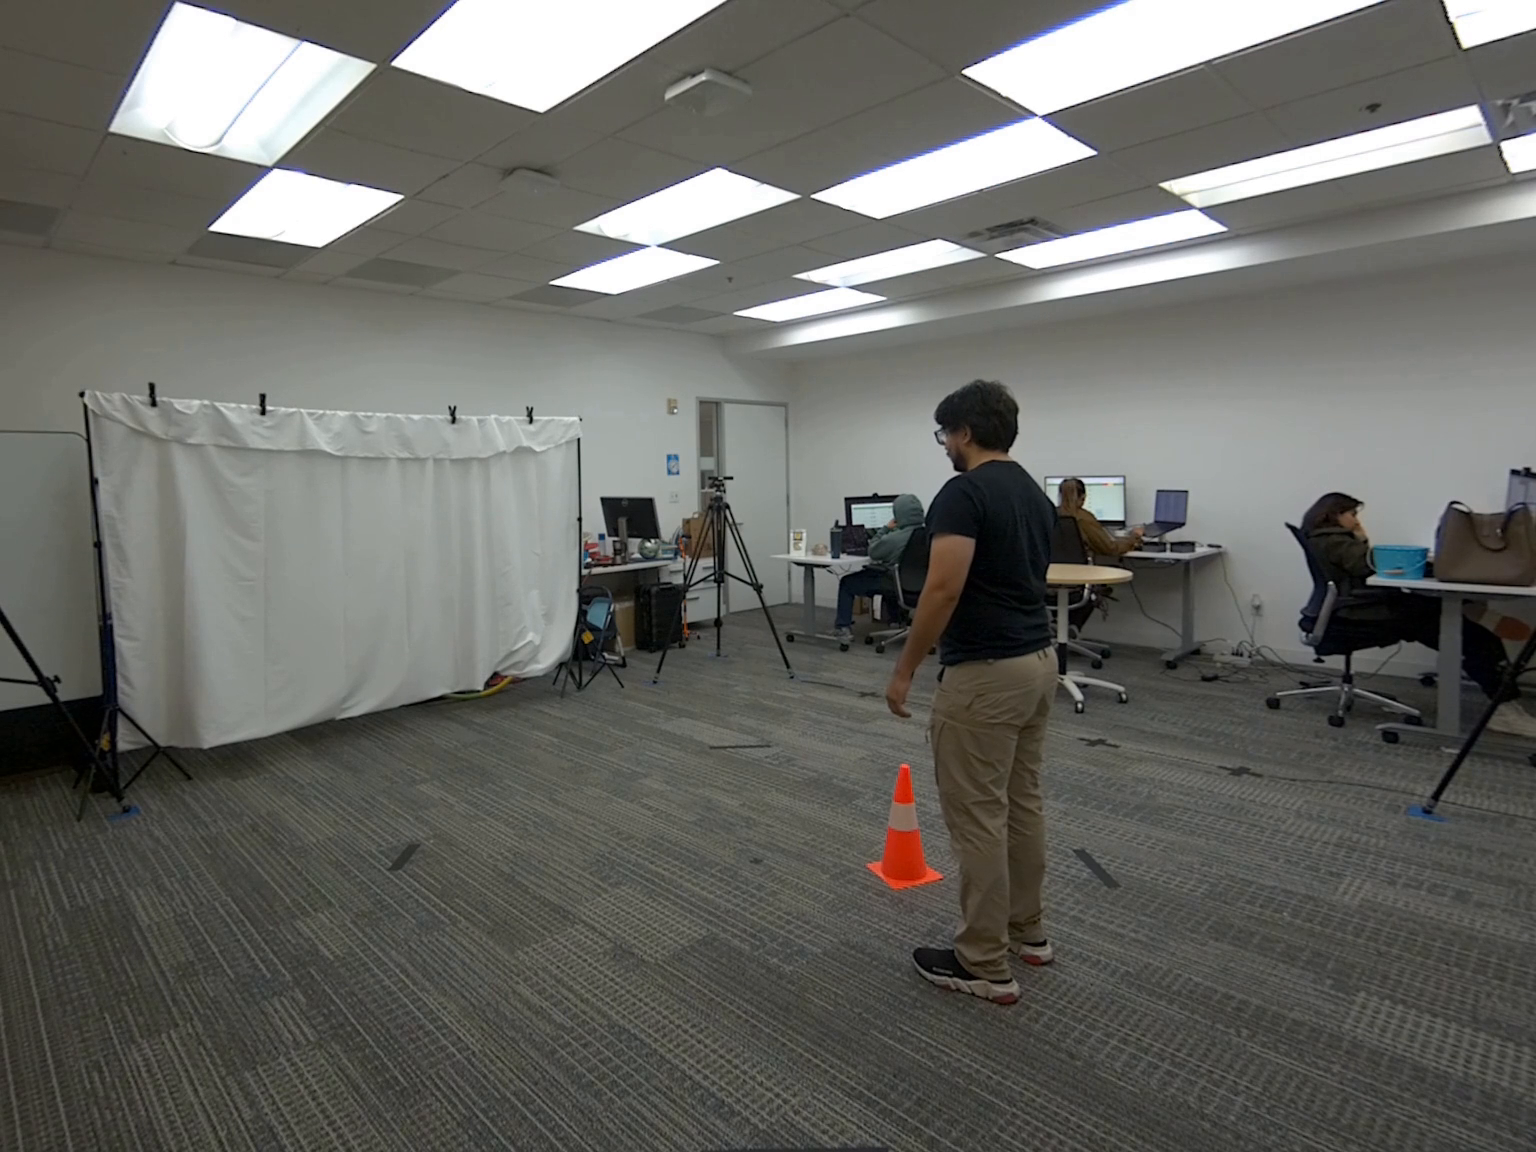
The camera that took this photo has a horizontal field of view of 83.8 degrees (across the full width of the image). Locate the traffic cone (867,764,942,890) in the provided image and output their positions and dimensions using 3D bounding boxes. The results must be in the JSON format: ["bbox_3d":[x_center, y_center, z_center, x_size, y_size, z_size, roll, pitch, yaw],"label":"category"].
[{"bbox_3d":[0.485,0.858,2.981,0.199,0.382,0.210,-4,6,-25],"label":"traffic cone"}]
